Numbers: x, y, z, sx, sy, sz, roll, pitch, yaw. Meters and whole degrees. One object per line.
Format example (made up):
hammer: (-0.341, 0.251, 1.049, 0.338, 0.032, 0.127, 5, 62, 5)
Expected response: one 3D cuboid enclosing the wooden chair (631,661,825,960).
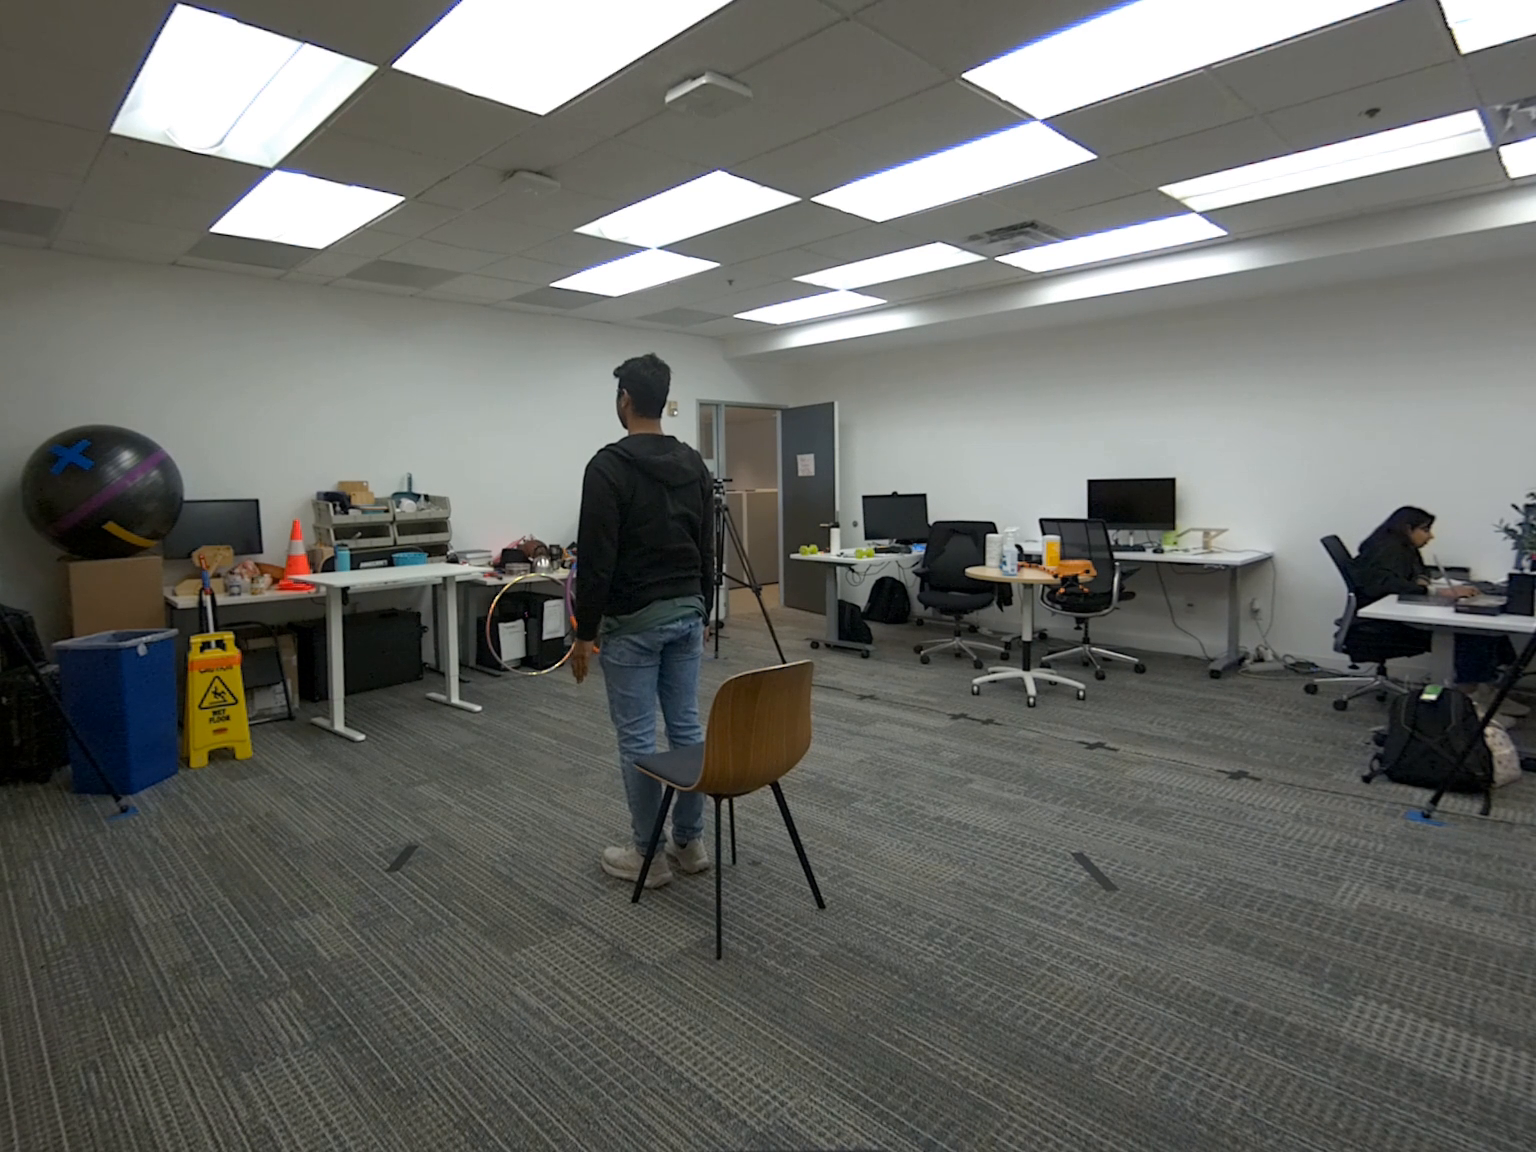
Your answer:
wooden chair: (-0.135, 0.661, 2.768, 0.465, 0.871, 0.540, -5, 10, -40)
